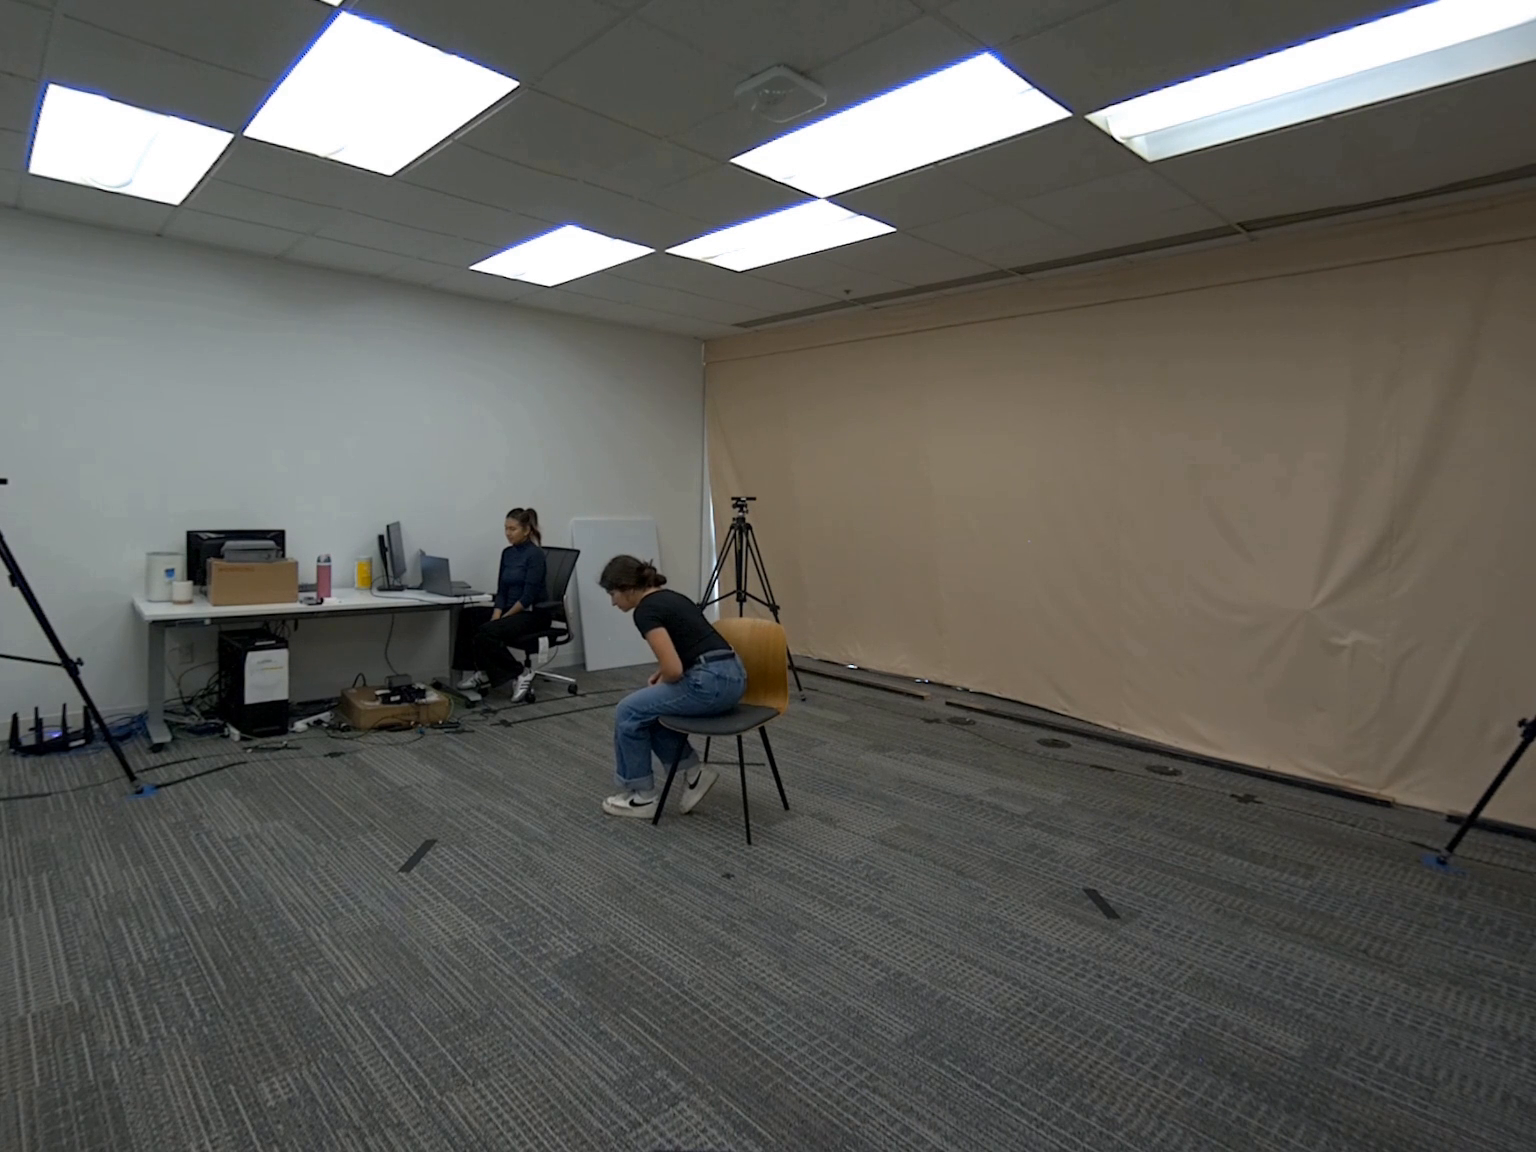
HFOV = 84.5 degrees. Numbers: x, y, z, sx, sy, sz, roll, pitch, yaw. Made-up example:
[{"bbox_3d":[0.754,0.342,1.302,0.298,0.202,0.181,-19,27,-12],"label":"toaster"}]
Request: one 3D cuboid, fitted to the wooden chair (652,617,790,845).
[{"bbox_3d":[-0.190,0.636,3.645,0.486,0.878,0.513,1,-1,23],"label":"wooden chair"}]
